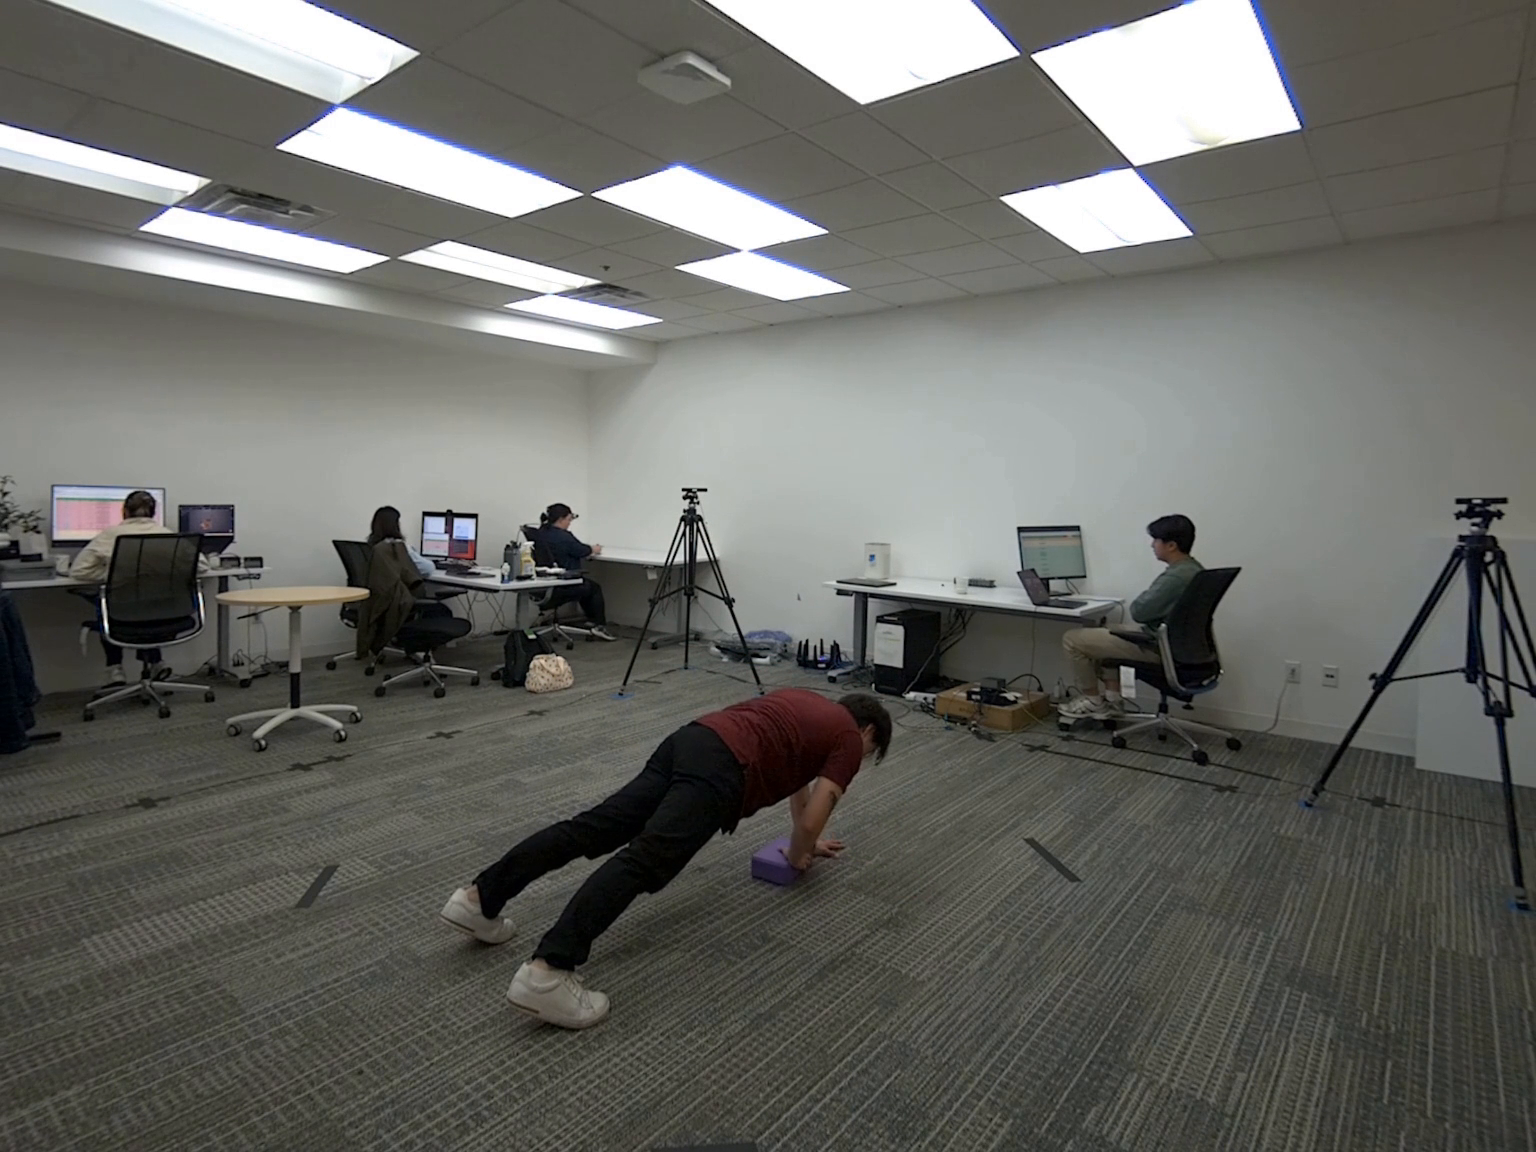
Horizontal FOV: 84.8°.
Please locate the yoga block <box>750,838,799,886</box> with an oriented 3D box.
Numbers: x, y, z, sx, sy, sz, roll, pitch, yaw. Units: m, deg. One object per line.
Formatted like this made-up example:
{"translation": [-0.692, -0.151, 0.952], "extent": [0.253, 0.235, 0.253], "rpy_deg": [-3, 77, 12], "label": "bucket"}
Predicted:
{"translation": [0.044, 1.032, 3.111], "extent": [0.153, 0.076, 0.223], "rpy_deg": [4, 4, 29], "label": "yoga block"}
